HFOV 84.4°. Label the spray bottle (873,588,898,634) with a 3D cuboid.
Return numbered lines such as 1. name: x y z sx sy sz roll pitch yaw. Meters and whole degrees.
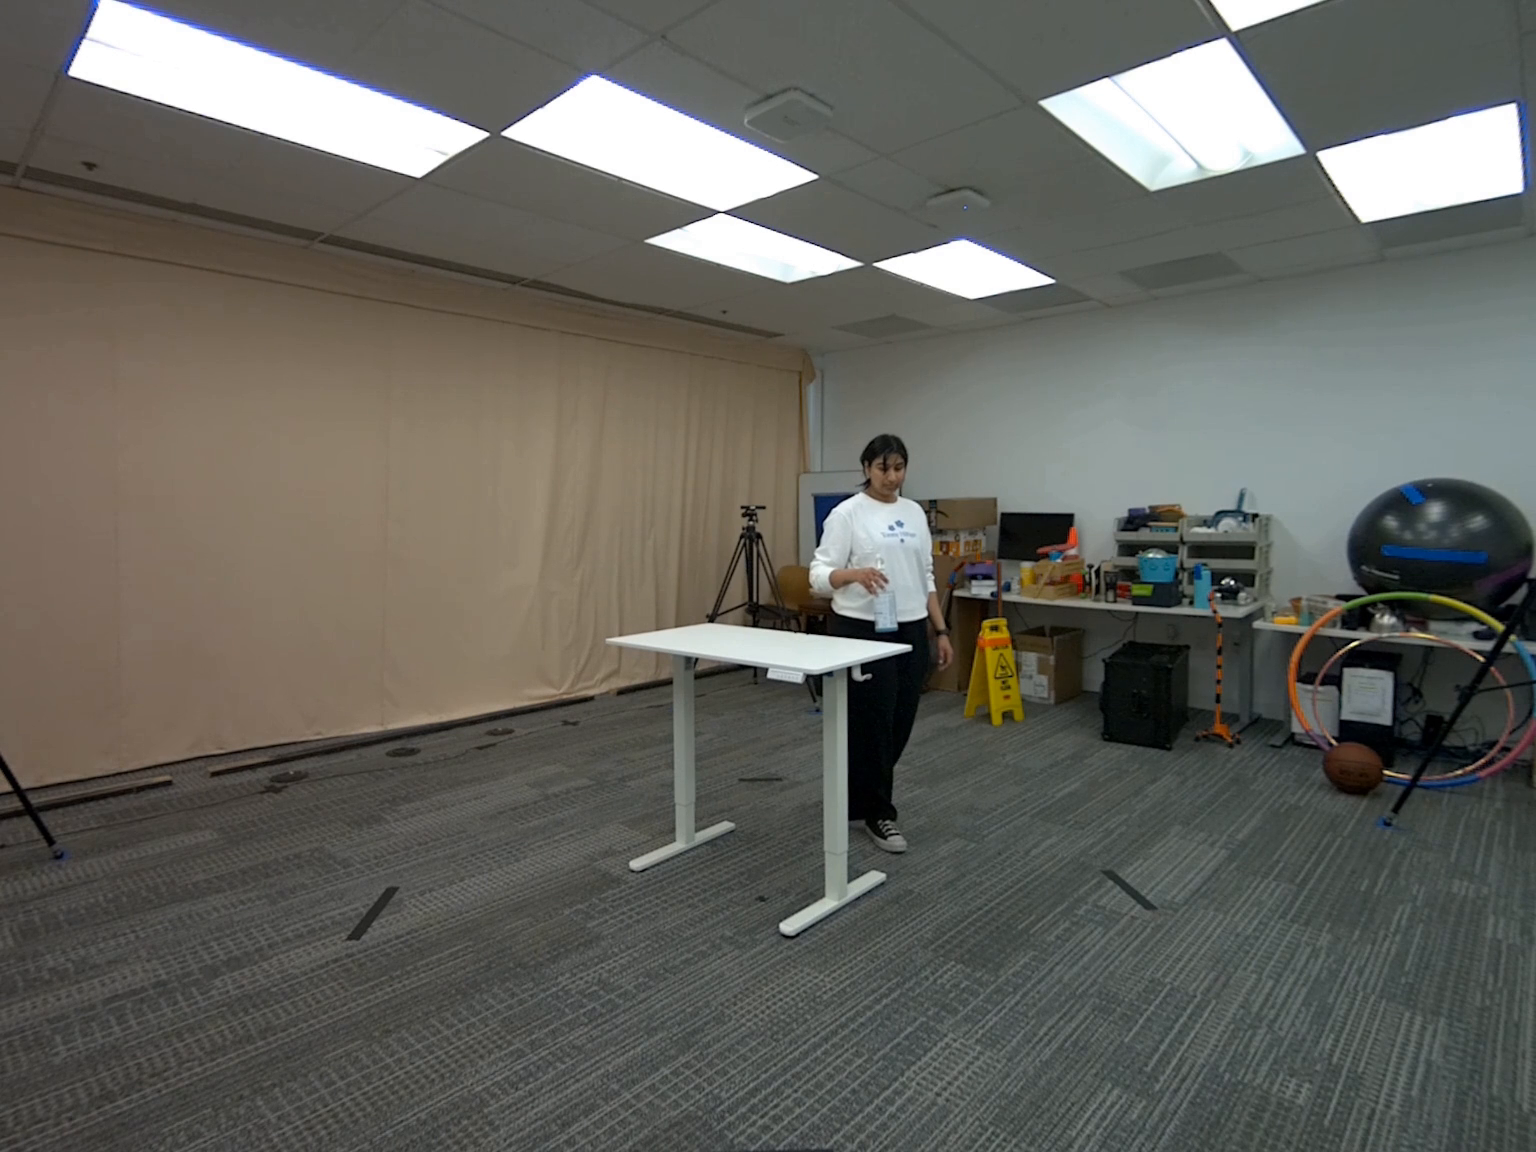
1. spray bottle: 0.446 0.066 3.257 0.089 0.298 0.087 -7 -4 42
